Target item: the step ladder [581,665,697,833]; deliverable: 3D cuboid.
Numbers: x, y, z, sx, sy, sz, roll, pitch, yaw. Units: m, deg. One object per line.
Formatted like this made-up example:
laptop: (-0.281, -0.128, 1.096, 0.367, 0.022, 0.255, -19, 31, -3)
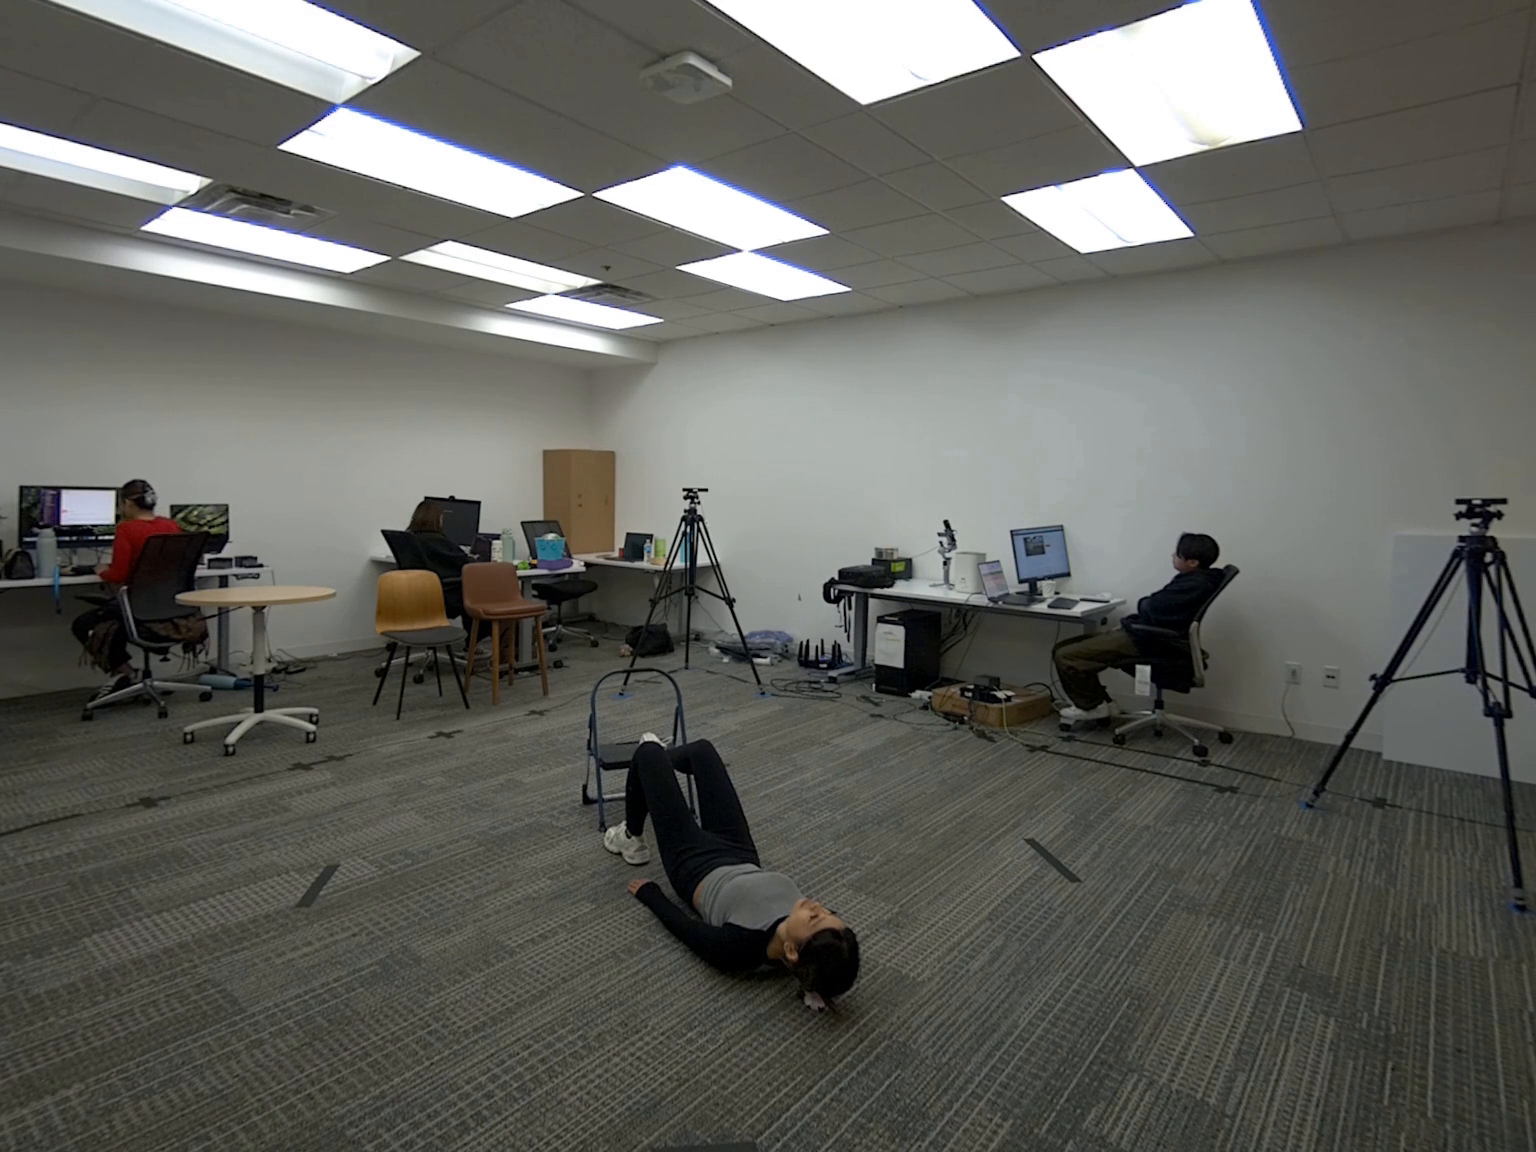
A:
step ladder: (-0.571, 0.711, 3.655, 0.420, 0.604, 0.359, -1, 4, -25)
